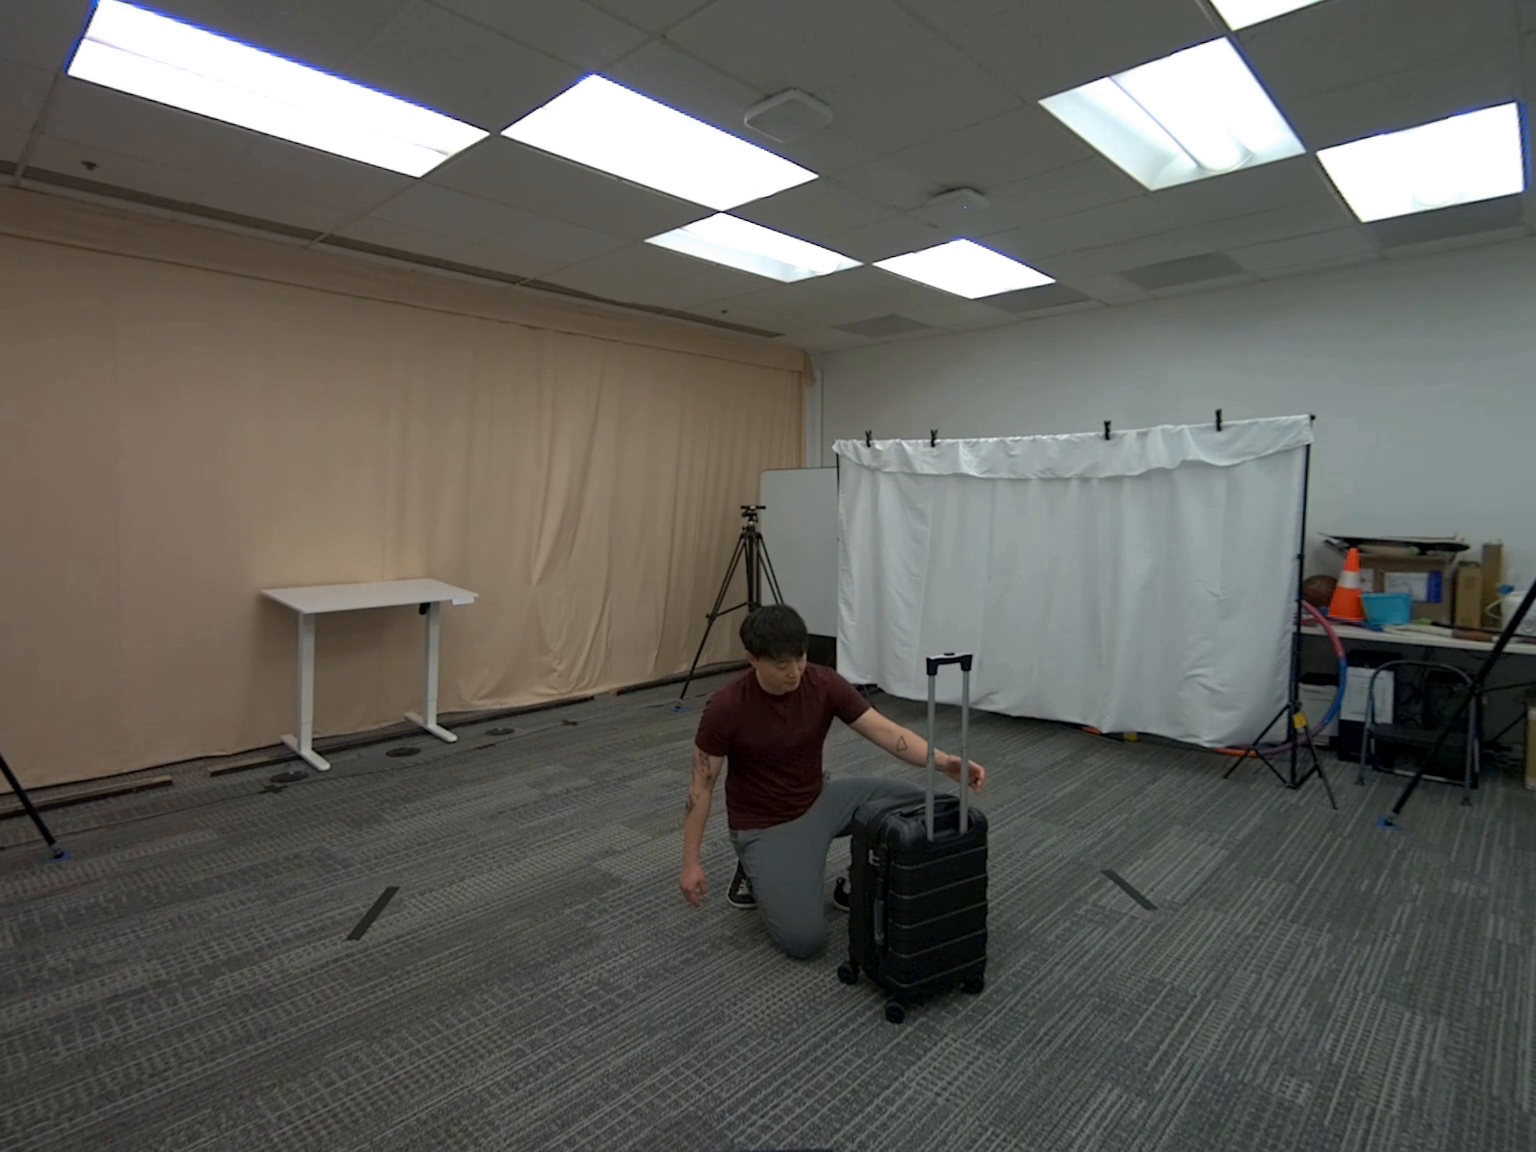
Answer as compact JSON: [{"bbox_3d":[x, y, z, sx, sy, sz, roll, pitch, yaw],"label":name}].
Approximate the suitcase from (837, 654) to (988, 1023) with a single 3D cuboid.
[{"bbox_3d":[0.439,0.704,2.418,0.374,0.977,0.264,0,3,-29],"label":"suitcase"}]
